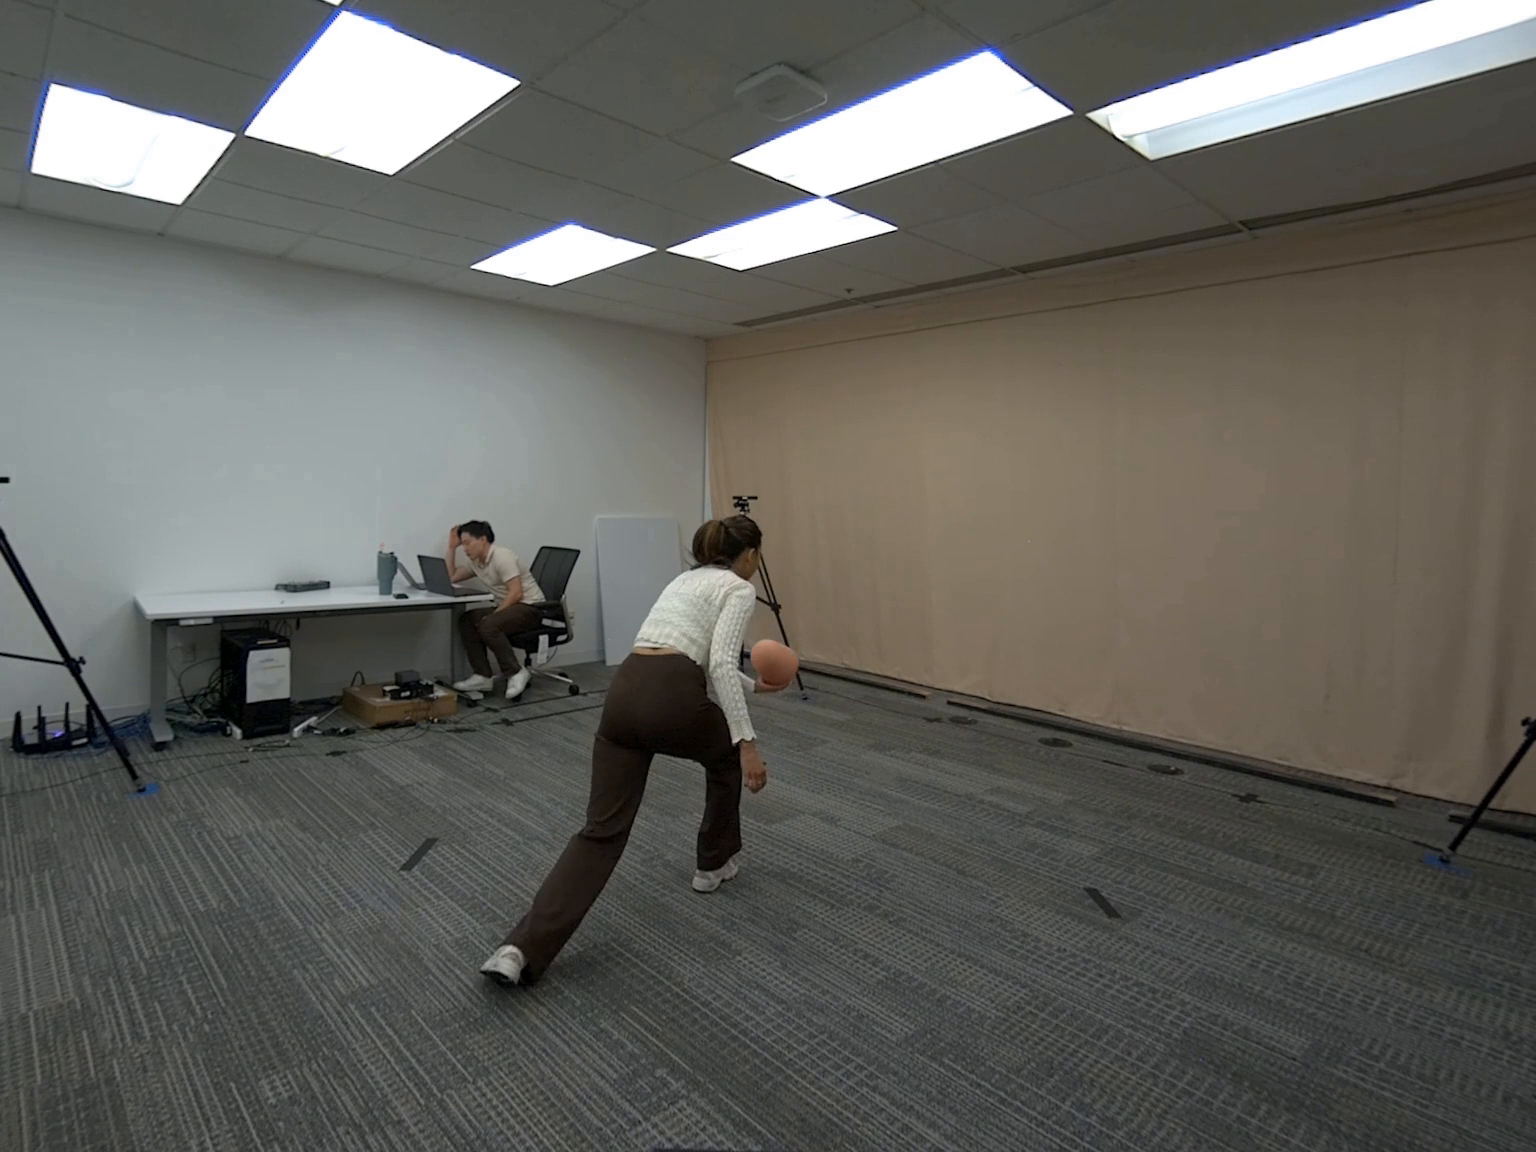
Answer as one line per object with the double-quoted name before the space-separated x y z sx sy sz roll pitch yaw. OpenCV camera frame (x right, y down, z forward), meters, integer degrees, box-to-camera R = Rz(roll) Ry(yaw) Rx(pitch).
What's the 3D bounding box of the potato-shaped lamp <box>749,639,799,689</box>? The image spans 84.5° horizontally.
"potato-shaped lamp" 0.009 0.347 3.389 0.194 0.164 0.175 39 6 -21
